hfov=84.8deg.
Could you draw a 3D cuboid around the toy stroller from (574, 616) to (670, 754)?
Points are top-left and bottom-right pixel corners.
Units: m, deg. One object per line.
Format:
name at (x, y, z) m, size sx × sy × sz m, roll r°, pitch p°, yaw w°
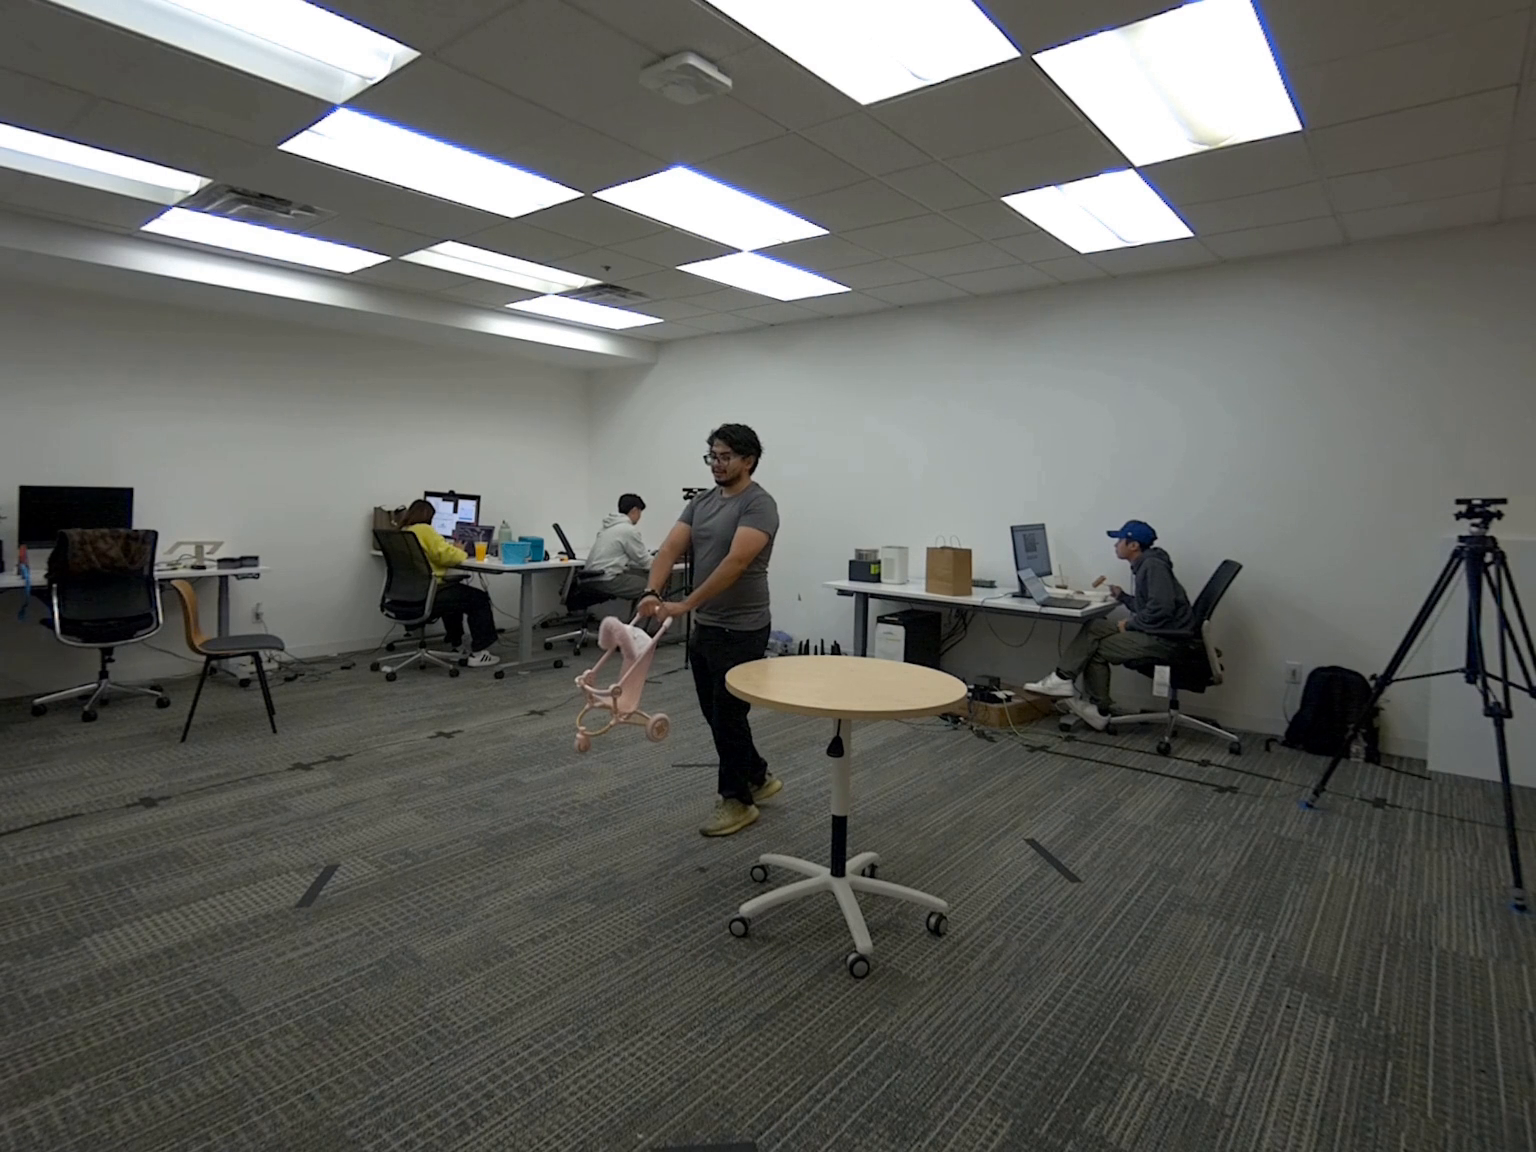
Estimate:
toy stroller at (-0.567, 0.382, 3.165) m, size 0.331 × 0.532 × 0.292 m, roll 3°, pitch 8°, yaw -35°
